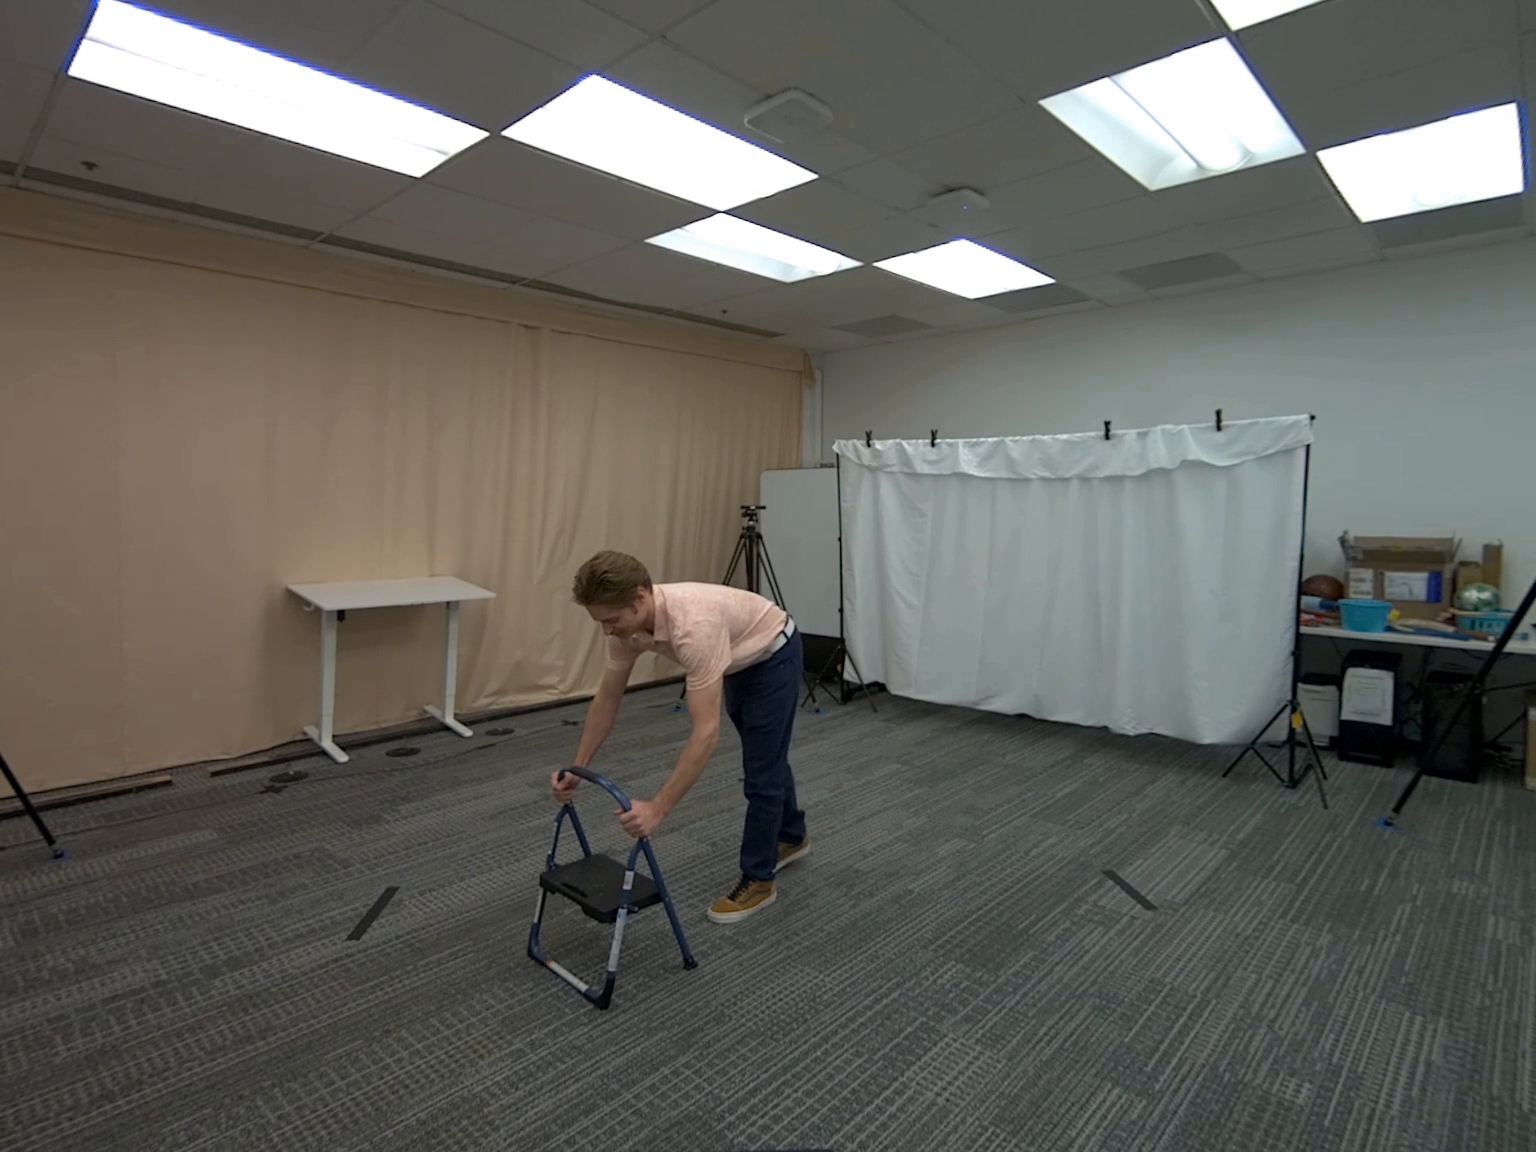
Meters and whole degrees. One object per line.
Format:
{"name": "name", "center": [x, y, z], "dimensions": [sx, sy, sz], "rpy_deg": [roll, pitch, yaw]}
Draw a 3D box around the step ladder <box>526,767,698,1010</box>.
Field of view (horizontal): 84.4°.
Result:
{"name": "step ladder", "center": [-0.482, 0.880, 2.568], "dimensions": [0.445, 0.605, 0.338], "rpy_deg": [3, 4, 44]}
